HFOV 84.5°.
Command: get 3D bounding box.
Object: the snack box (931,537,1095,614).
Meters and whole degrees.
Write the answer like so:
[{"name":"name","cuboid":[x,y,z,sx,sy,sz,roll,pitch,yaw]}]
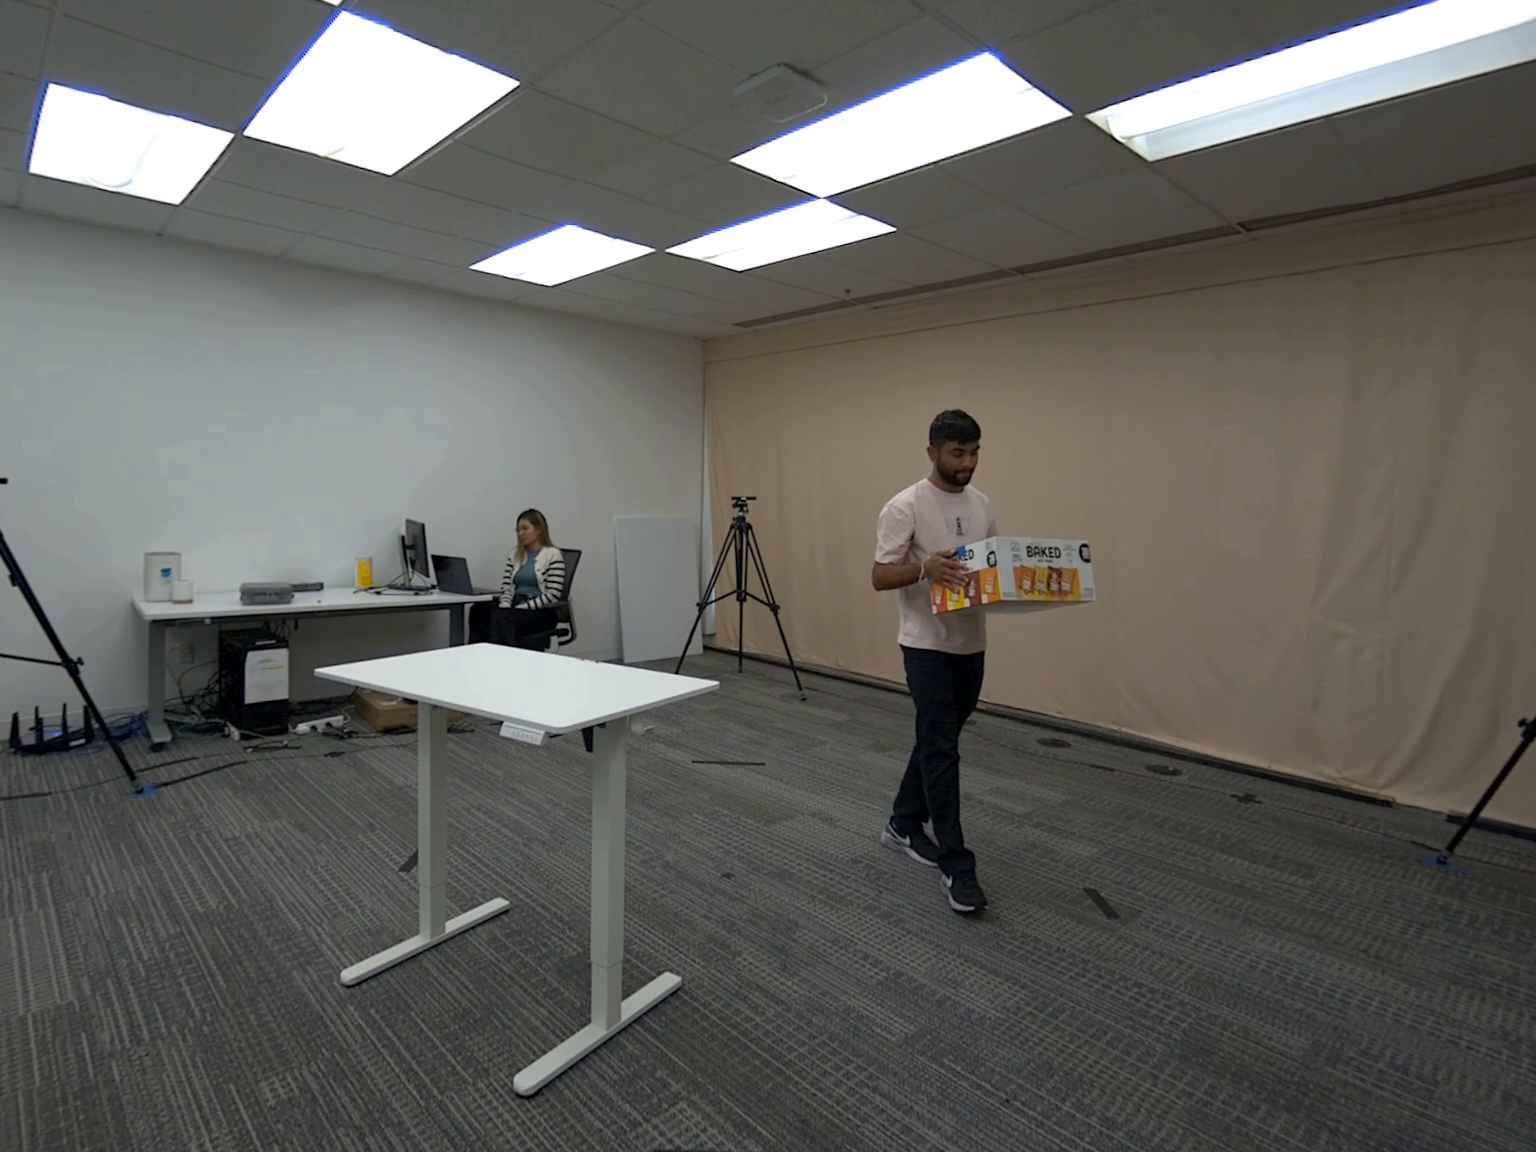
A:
[{"name":"snack box","cuboid":[0.802,0.005,2.827,0.397,0.207,0.344,1,-10,-27]}]
